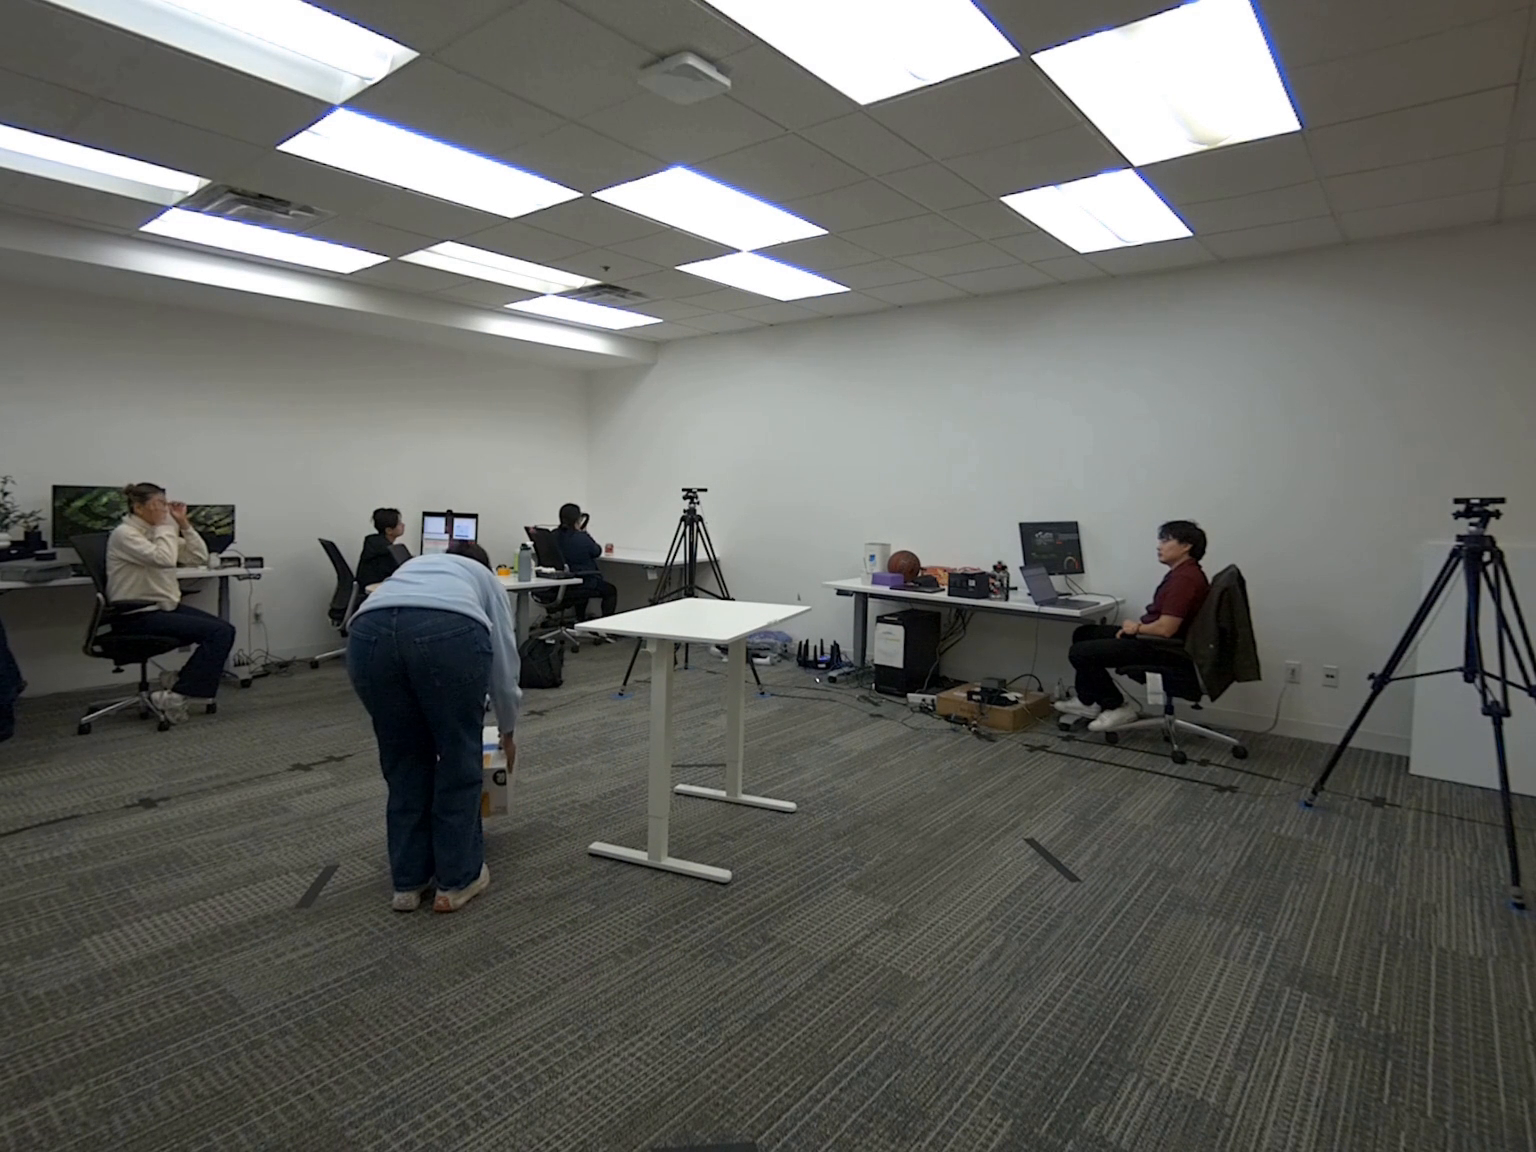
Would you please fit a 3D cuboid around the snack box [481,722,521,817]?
[{"bbox_3d":[-1.188,0.744,3.243,0.402,0.203,0.348,-2,16,-8],"label":"snack box"}]
